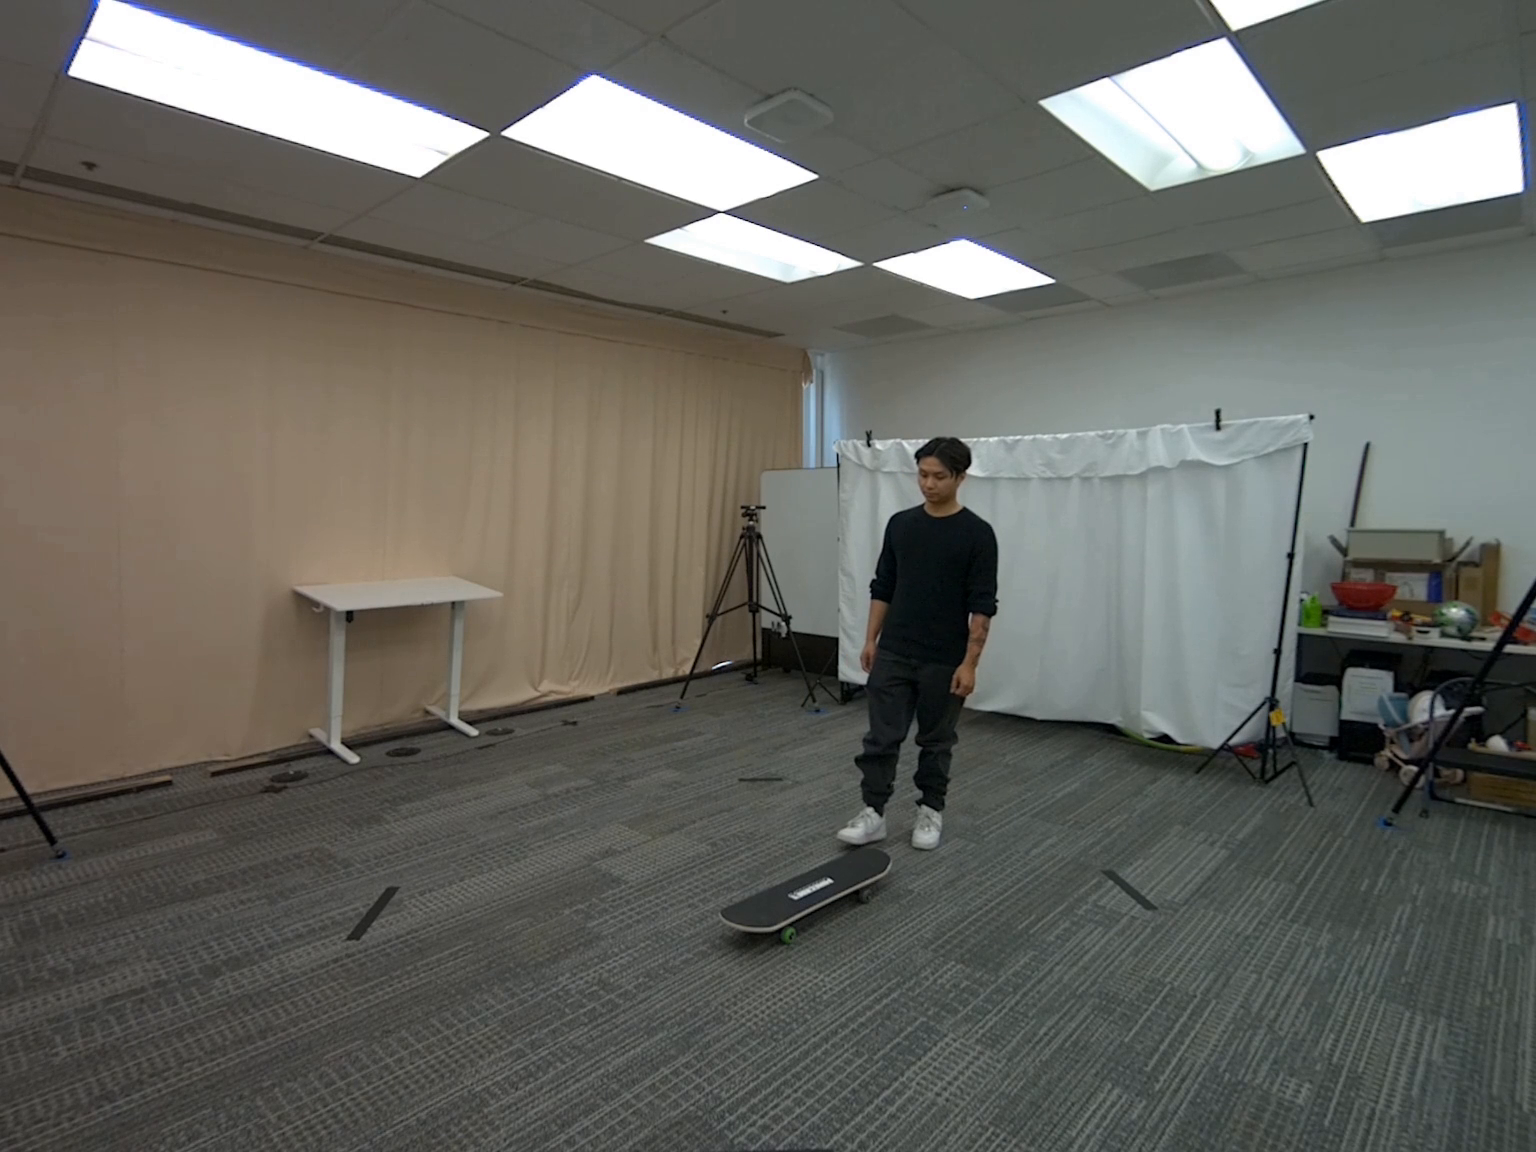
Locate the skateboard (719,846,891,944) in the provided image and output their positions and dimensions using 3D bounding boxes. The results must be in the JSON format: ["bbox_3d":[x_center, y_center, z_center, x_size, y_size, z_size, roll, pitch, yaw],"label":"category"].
[{"bbox_3d":[0.148,1.098,2.866,0.761,0.110,0.200,-4,6,-44],"label":"skateboard"}]
